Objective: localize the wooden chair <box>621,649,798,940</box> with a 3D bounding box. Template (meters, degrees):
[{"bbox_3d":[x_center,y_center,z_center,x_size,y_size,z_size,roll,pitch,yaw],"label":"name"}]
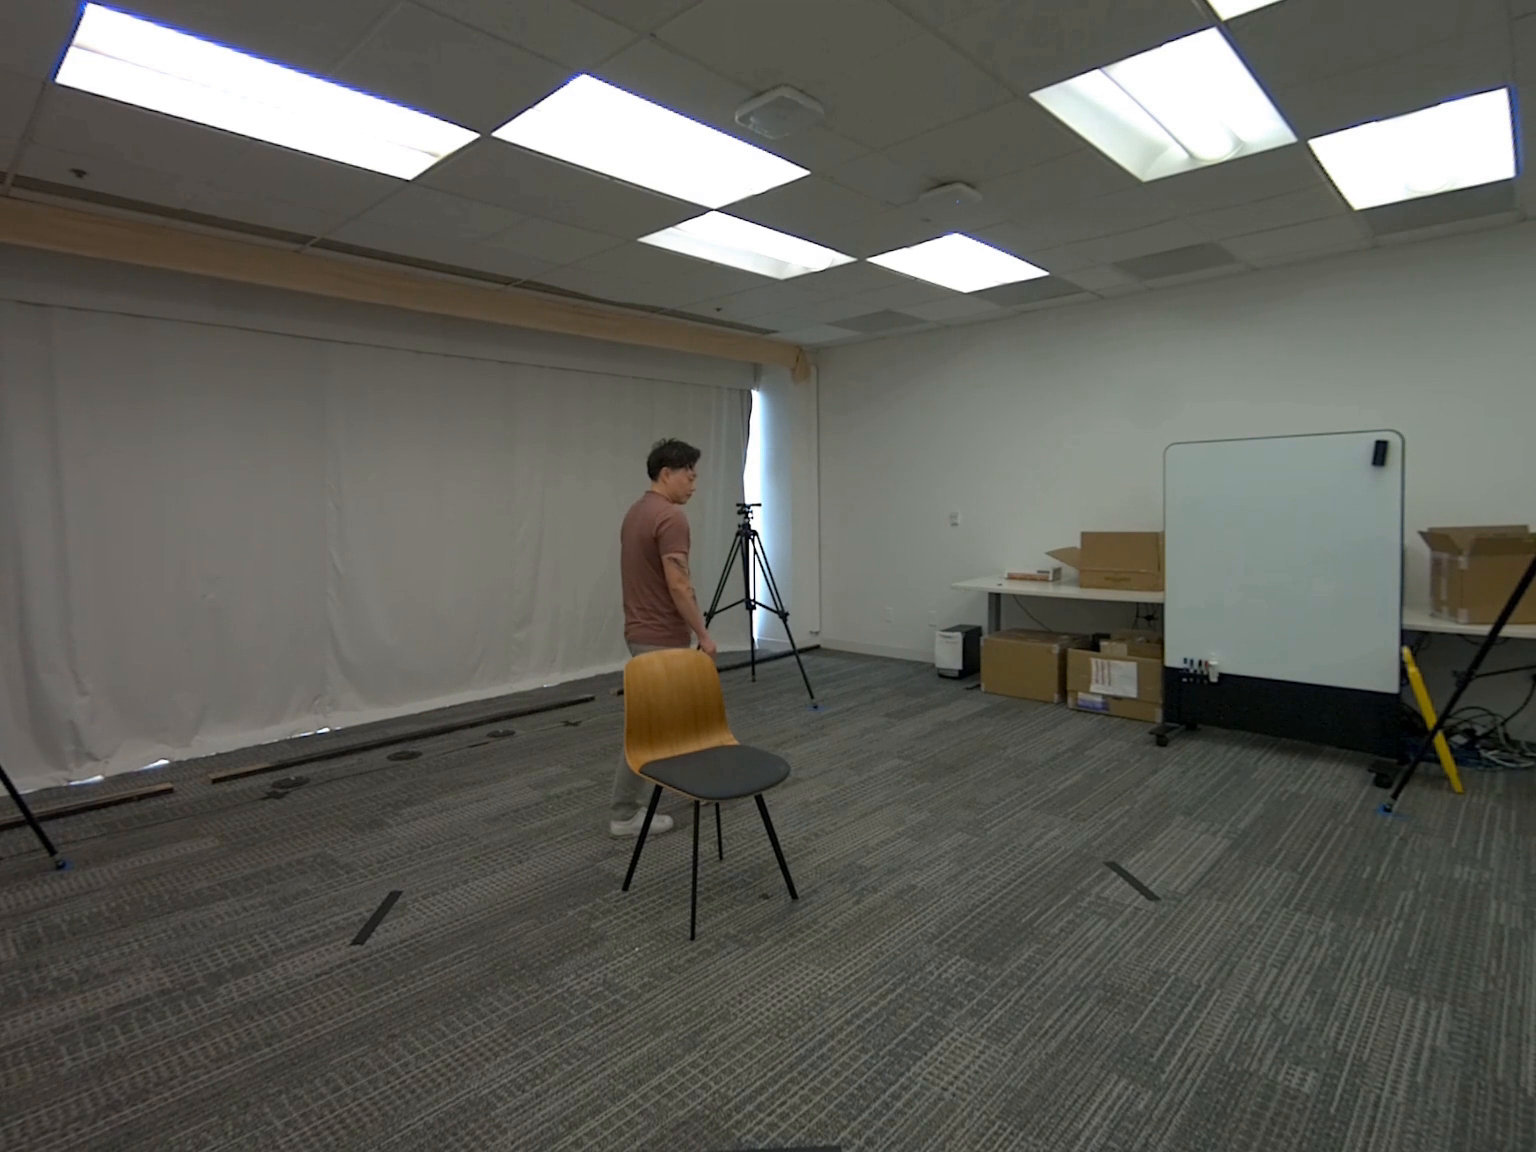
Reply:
[{"bbox_3d":[-0.213,0.715,2.964,0.464,0.877,0.539,-4,0,-38],"label":"wooden chair"}]
